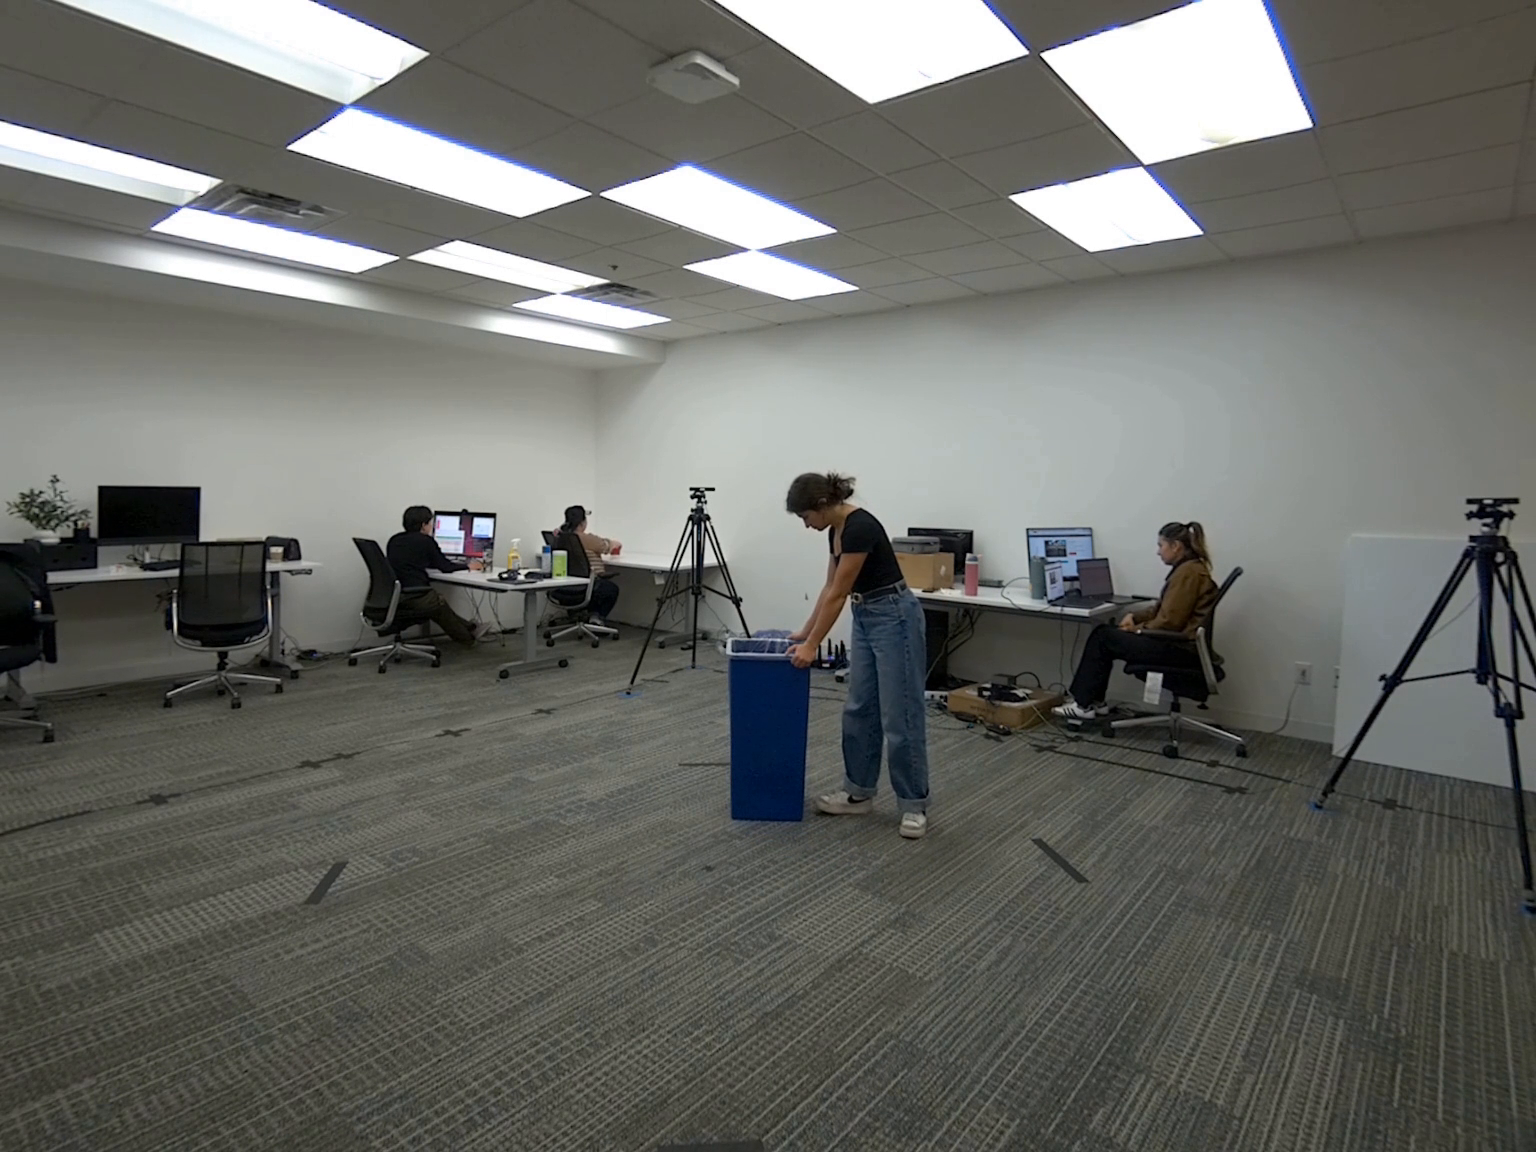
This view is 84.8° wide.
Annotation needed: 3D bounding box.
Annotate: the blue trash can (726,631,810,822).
[{"bbox_3d":[-0.004,0.661,3.706,0.378,0.712,0.375,1,2,0],"label":"blue trash can"}]
